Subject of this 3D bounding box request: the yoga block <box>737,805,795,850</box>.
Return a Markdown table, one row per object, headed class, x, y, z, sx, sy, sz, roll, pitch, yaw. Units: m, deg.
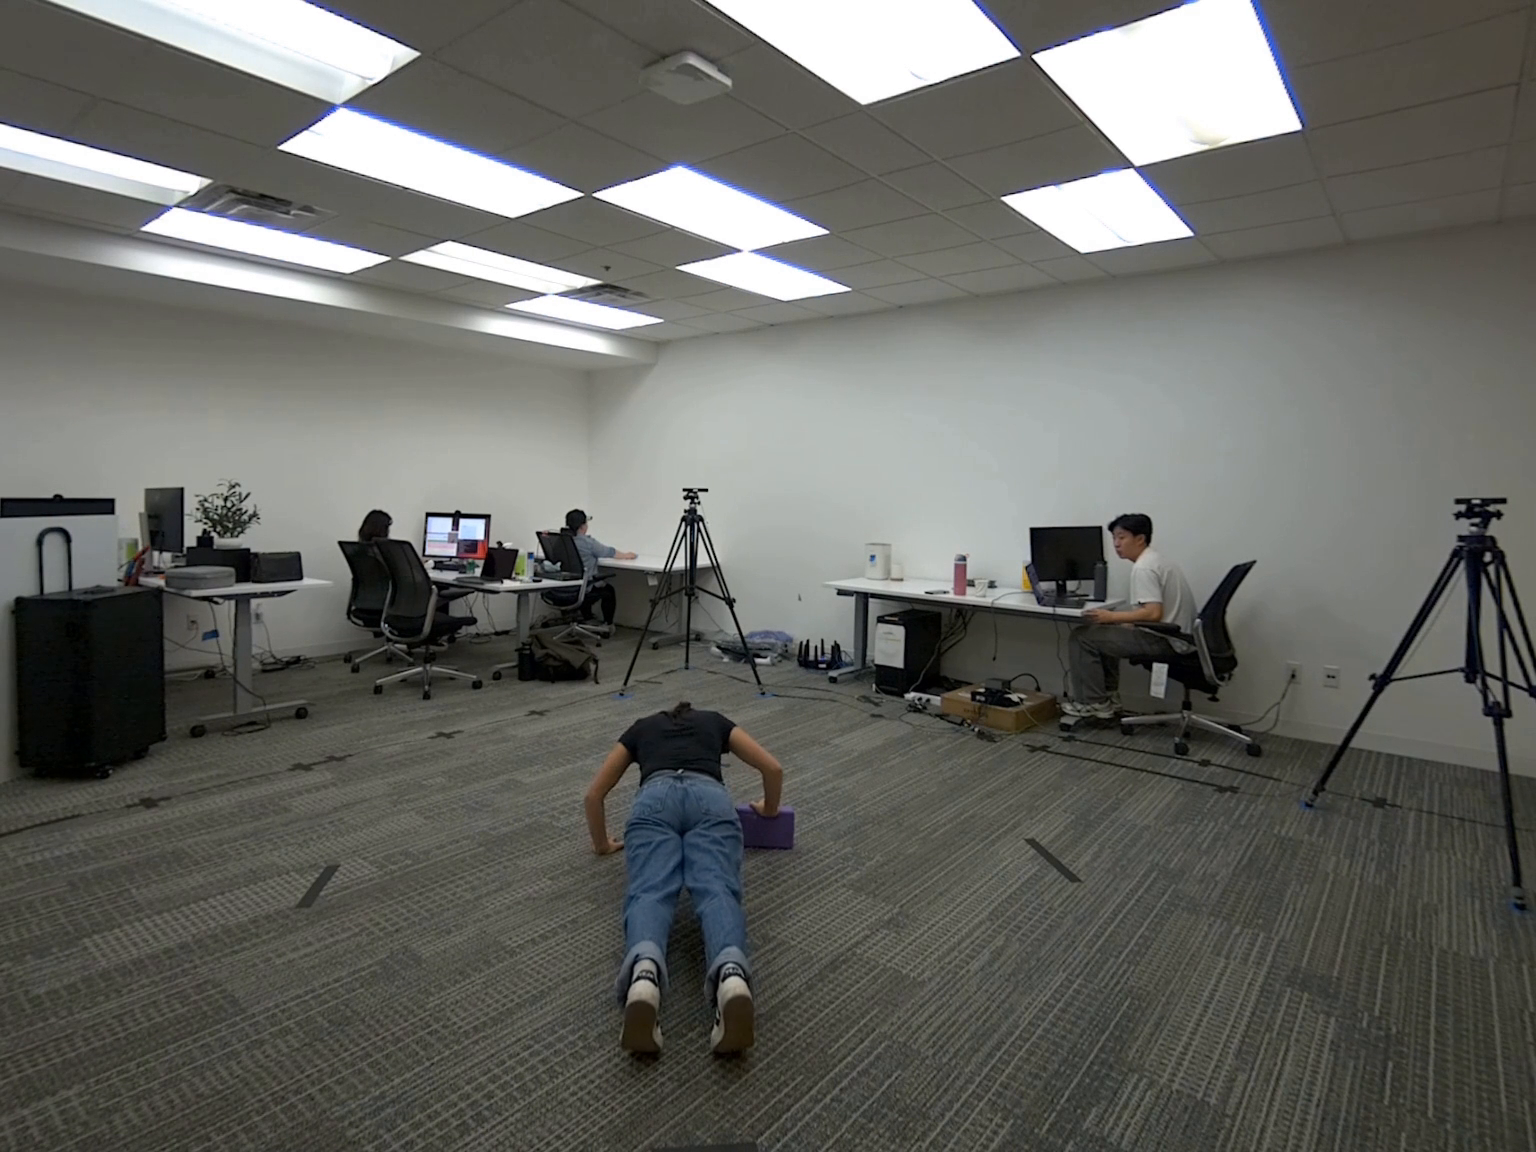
| class | x | y | z | sx | sy | sz | roll | pitch | yaw |
| --- | --- | --- | --- | --- | --- | --- | --- | --- | --- |
| yoga block | -0.011 | 0.975 | 3.337 | 0.229 | 0.148 | 0.077 | 1 | 4 | -1 |
